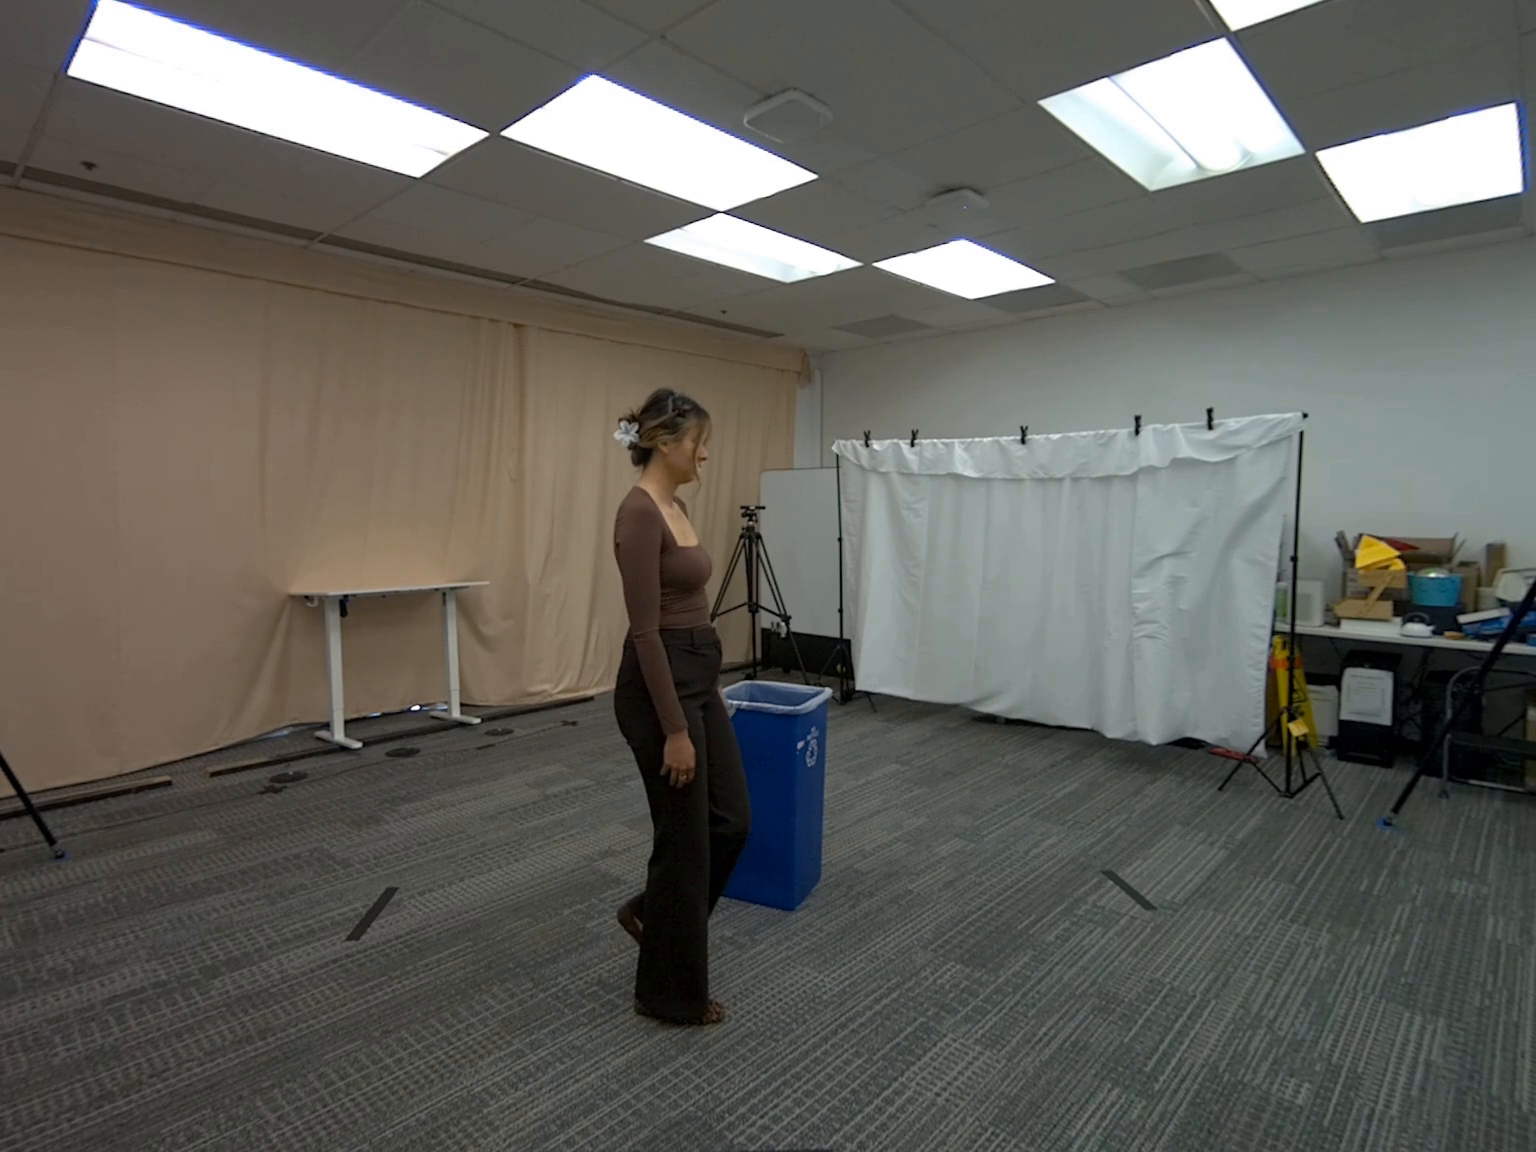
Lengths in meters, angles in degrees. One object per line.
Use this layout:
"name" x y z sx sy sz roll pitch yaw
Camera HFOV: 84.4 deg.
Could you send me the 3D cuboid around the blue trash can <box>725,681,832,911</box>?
"blue trash can" 0.010 0.777 3.070 0.388 0.712 0.365 2 4 25
